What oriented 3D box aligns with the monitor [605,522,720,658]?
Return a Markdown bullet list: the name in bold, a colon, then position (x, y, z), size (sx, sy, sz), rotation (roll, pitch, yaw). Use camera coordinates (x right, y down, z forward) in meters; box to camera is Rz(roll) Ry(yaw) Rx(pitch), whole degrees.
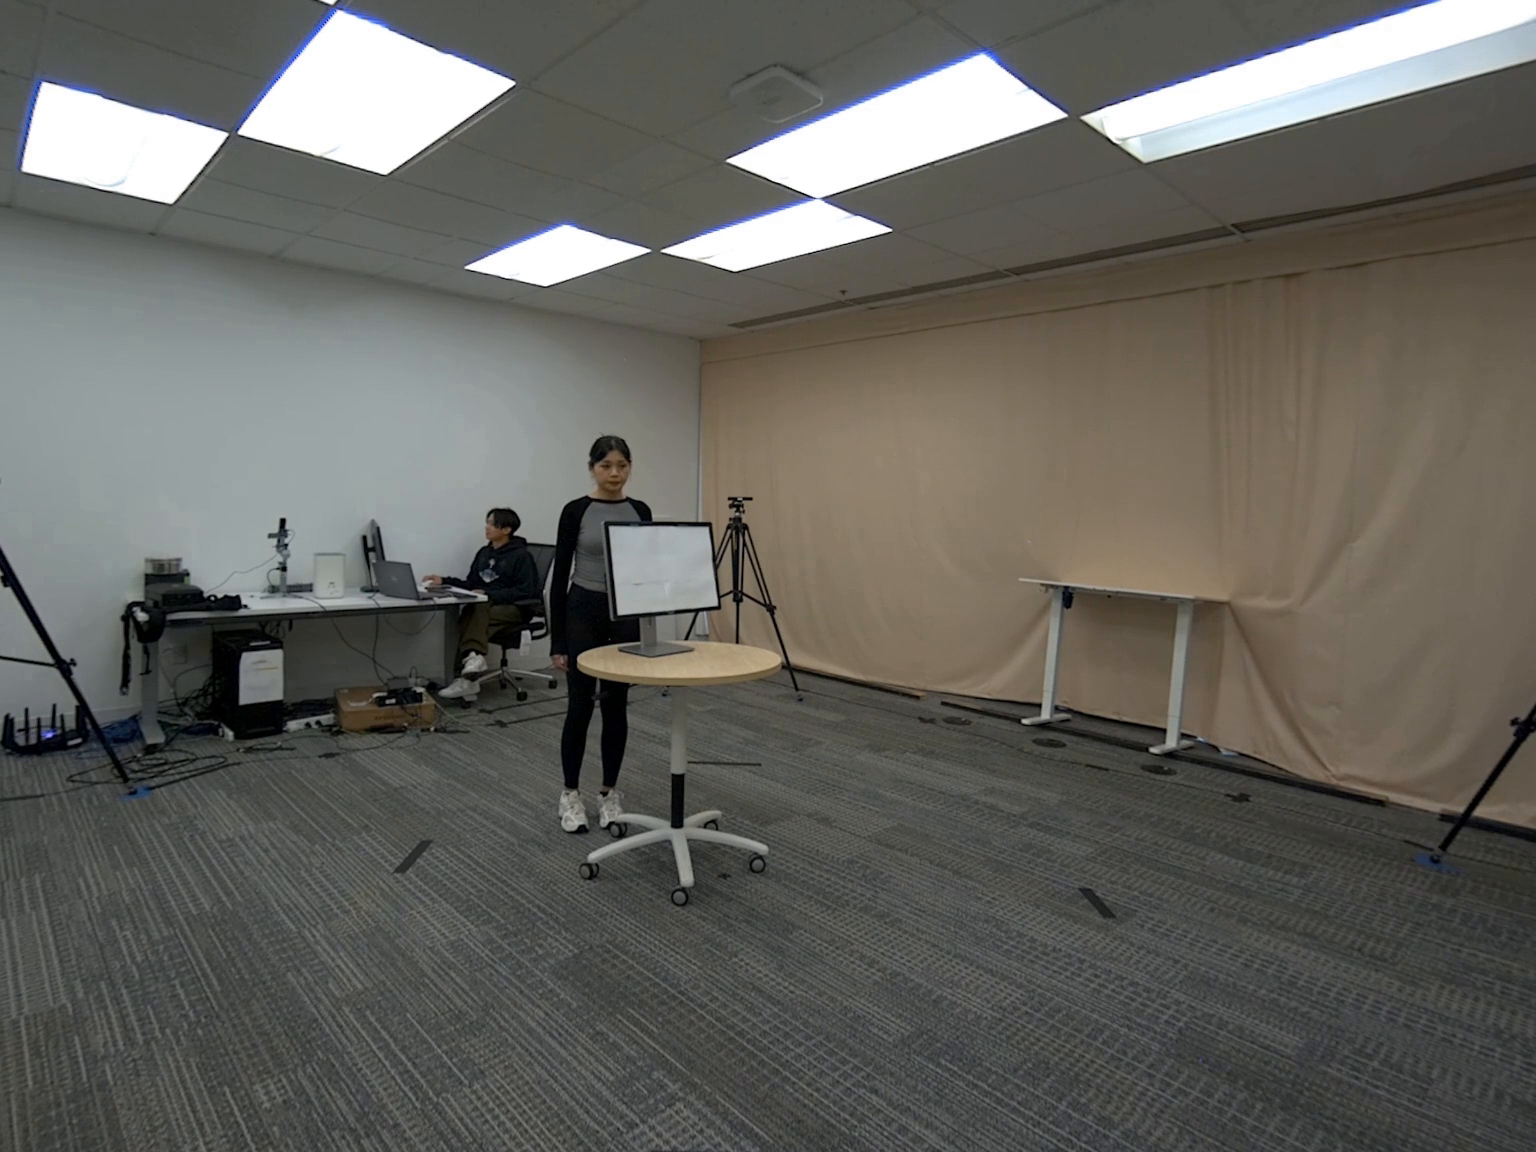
- **monitor**: position (-0.434, 0.048, 3.285), size (0.179, 0.514, 0.517), rotation (13, 9, 40)
